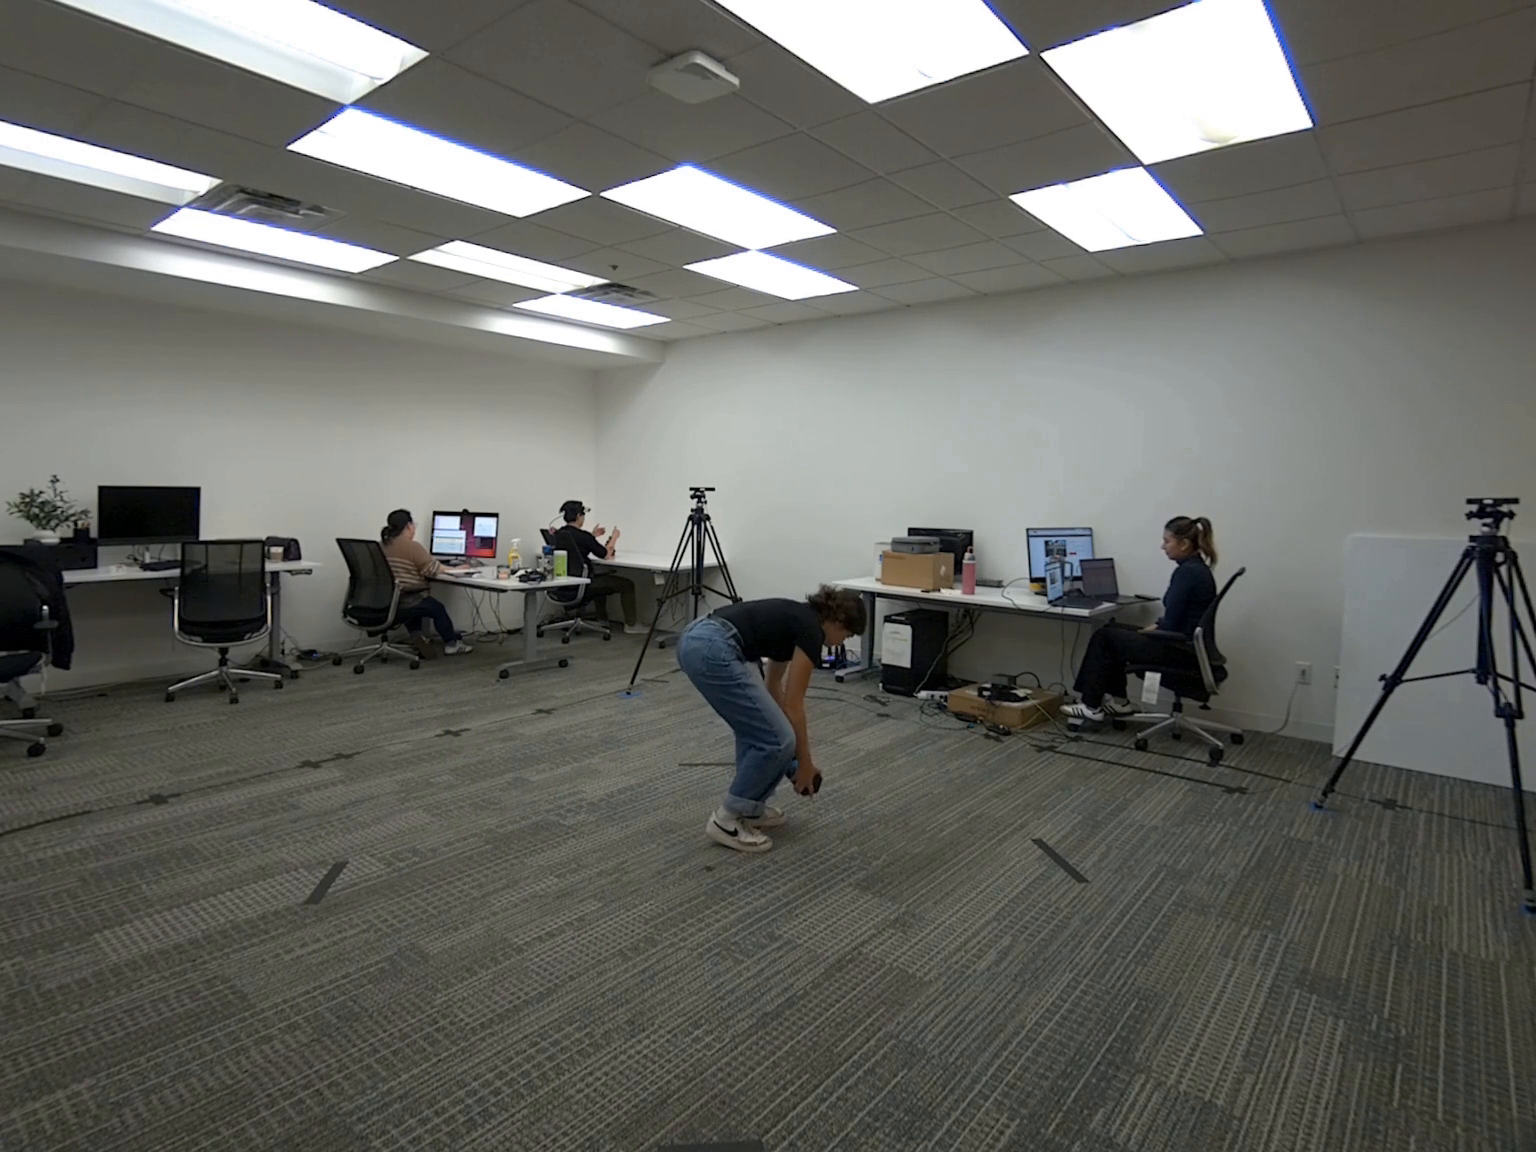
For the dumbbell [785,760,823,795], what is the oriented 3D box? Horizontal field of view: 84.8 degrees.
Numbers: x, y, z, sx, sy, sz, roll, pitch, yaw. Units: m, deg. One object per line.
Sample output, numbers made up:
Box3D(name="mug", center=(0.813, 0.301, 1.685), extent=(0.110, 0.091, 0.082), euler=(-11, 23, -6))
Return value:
Box3D(name="dumbbell", center=(0.113, 0.791, 3.513), extent=(0.107, 0.123, 0.298), euler=(23, -2, -14))
